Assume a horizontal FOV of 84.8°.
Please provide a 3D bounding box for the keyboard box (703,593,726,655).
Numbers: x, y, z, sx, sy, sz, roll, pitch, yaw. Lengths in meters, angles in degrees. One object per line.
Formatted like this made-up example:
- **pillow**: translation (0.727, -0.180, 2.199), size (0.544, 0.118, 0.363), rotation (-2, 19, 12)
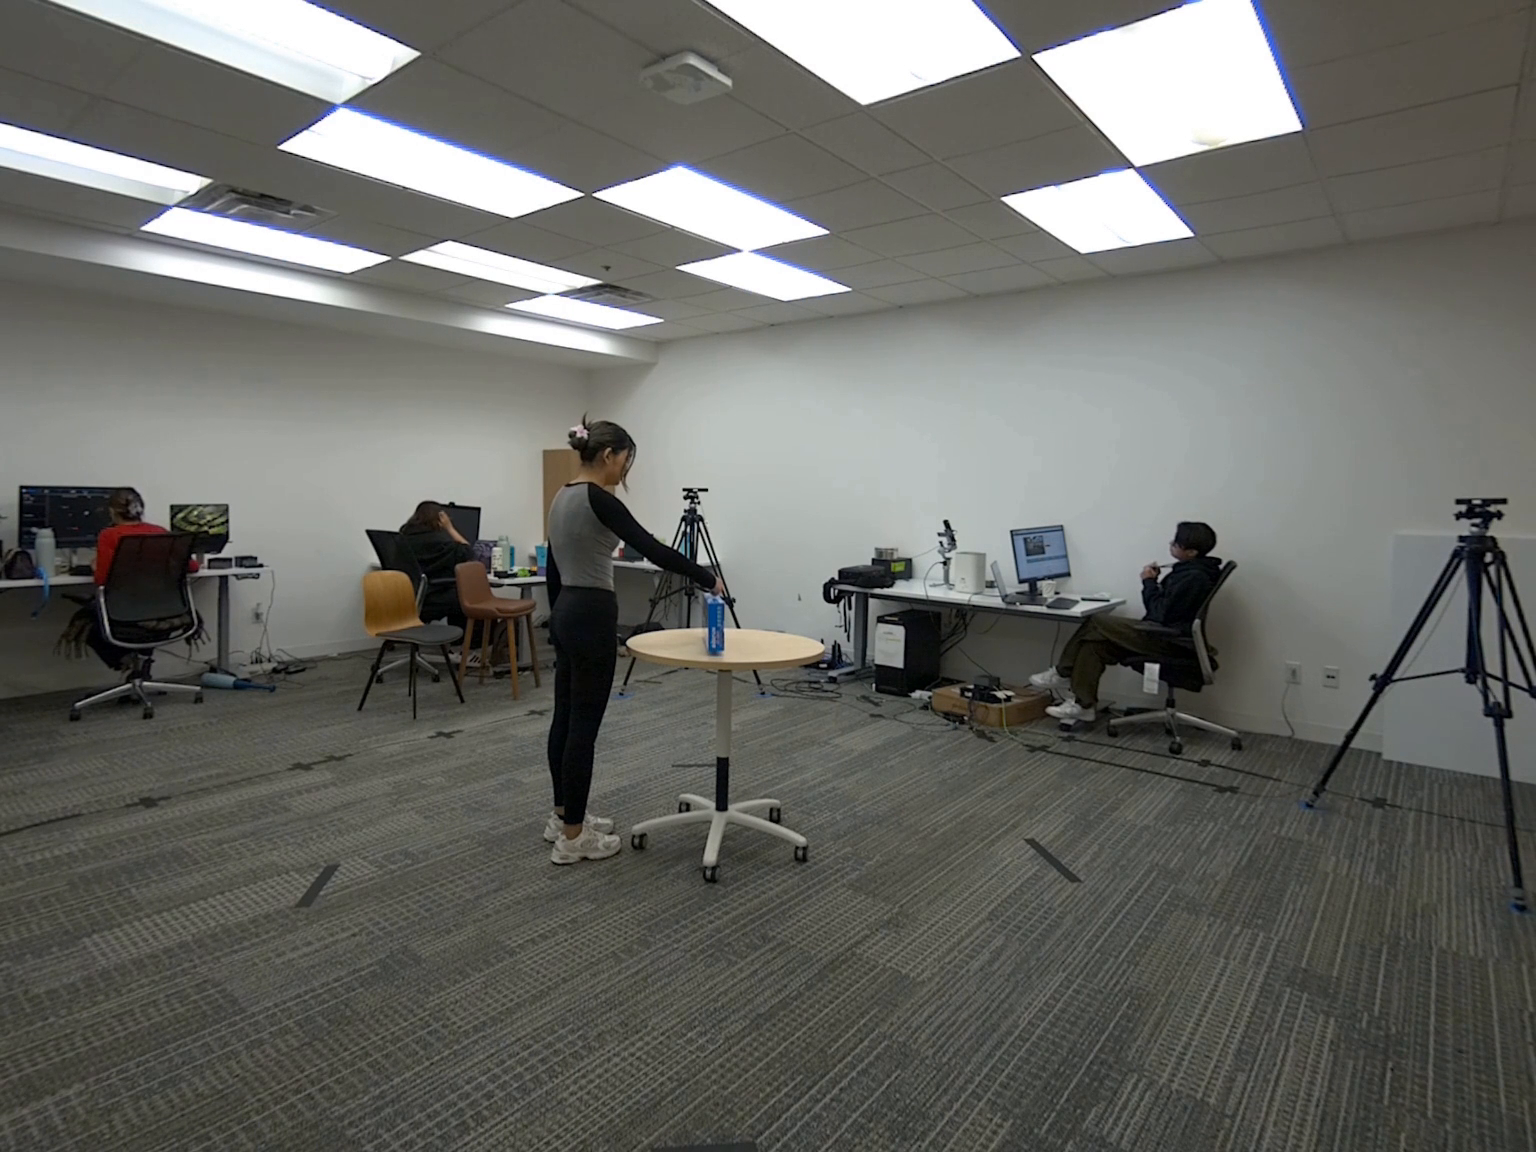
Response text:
- **keyboard box**: translation (-0.228, 0.162, 3.228), size (0.059, 0.175, 0.441), rotation (1, 5, -8)
